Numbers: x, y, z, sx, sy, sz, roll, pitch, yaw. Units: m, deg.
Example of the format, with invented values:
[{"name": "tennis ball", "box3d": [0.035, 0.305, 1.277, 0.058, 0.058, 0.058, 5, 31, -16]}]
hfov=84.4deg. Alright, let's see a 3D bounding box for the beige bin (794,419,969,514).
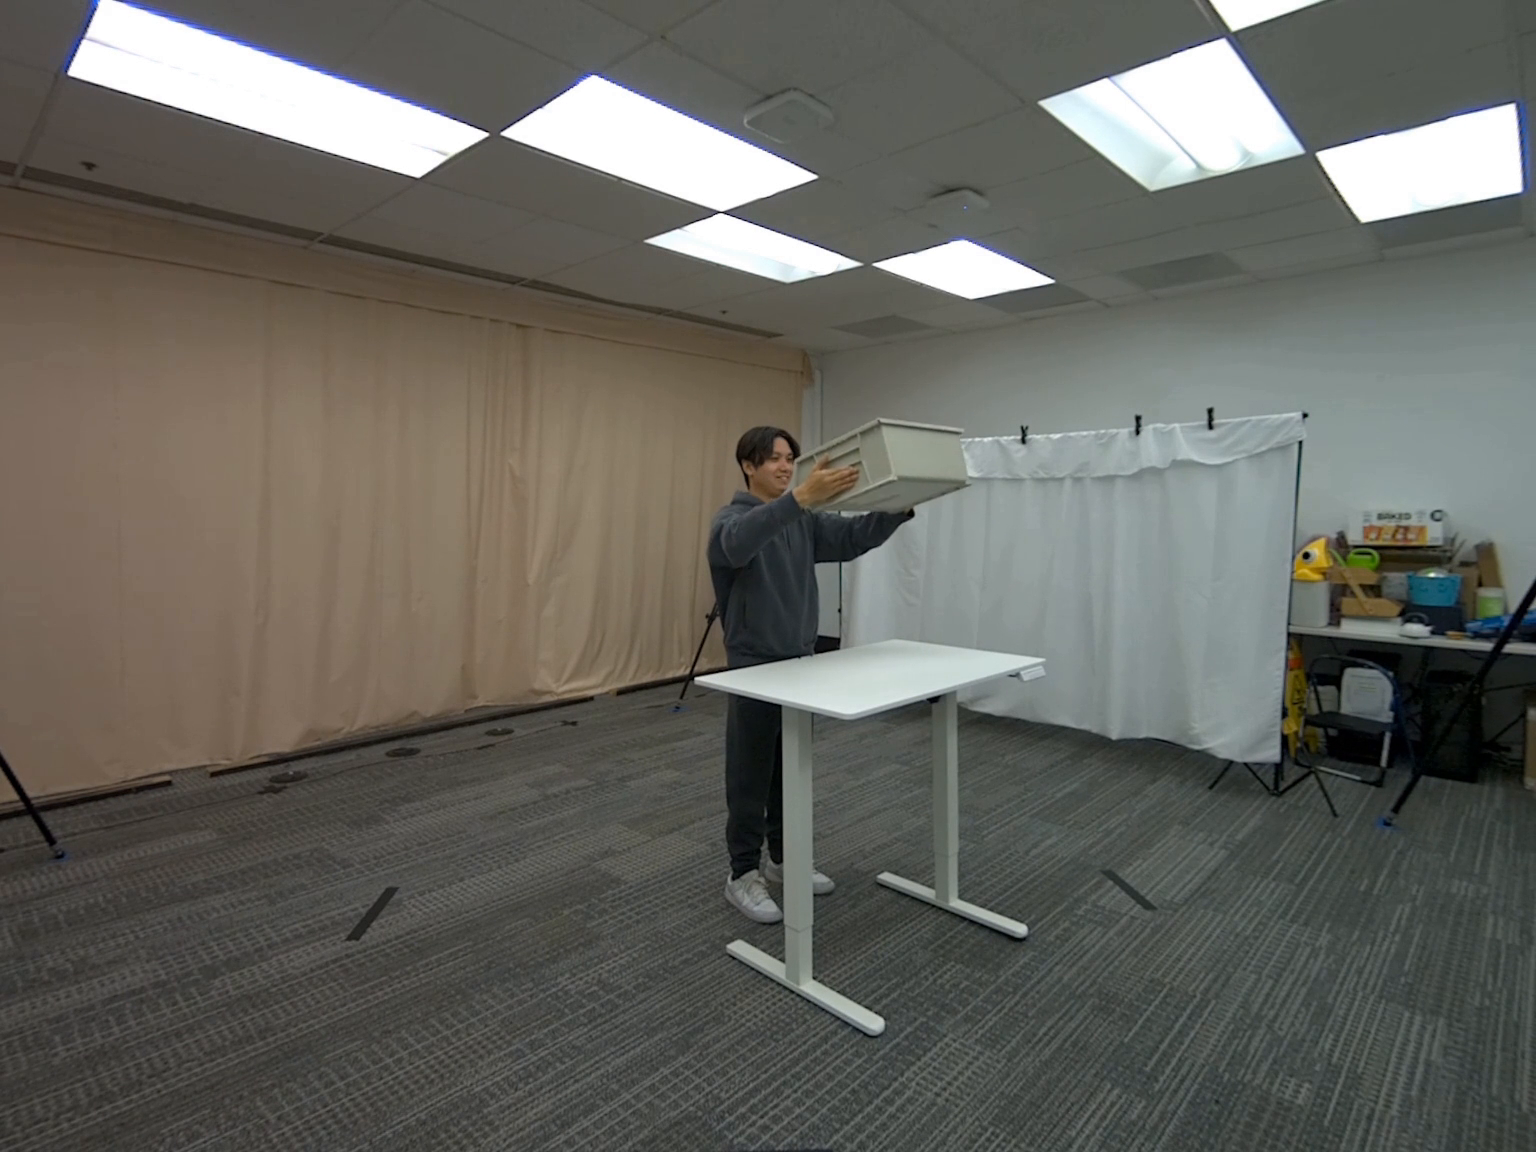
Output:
[{"name": "beige bin", "box3d": [0.355, -0.316, 2.610, 0.409, 0.190, 0.386, -2, -12, -42]}]
